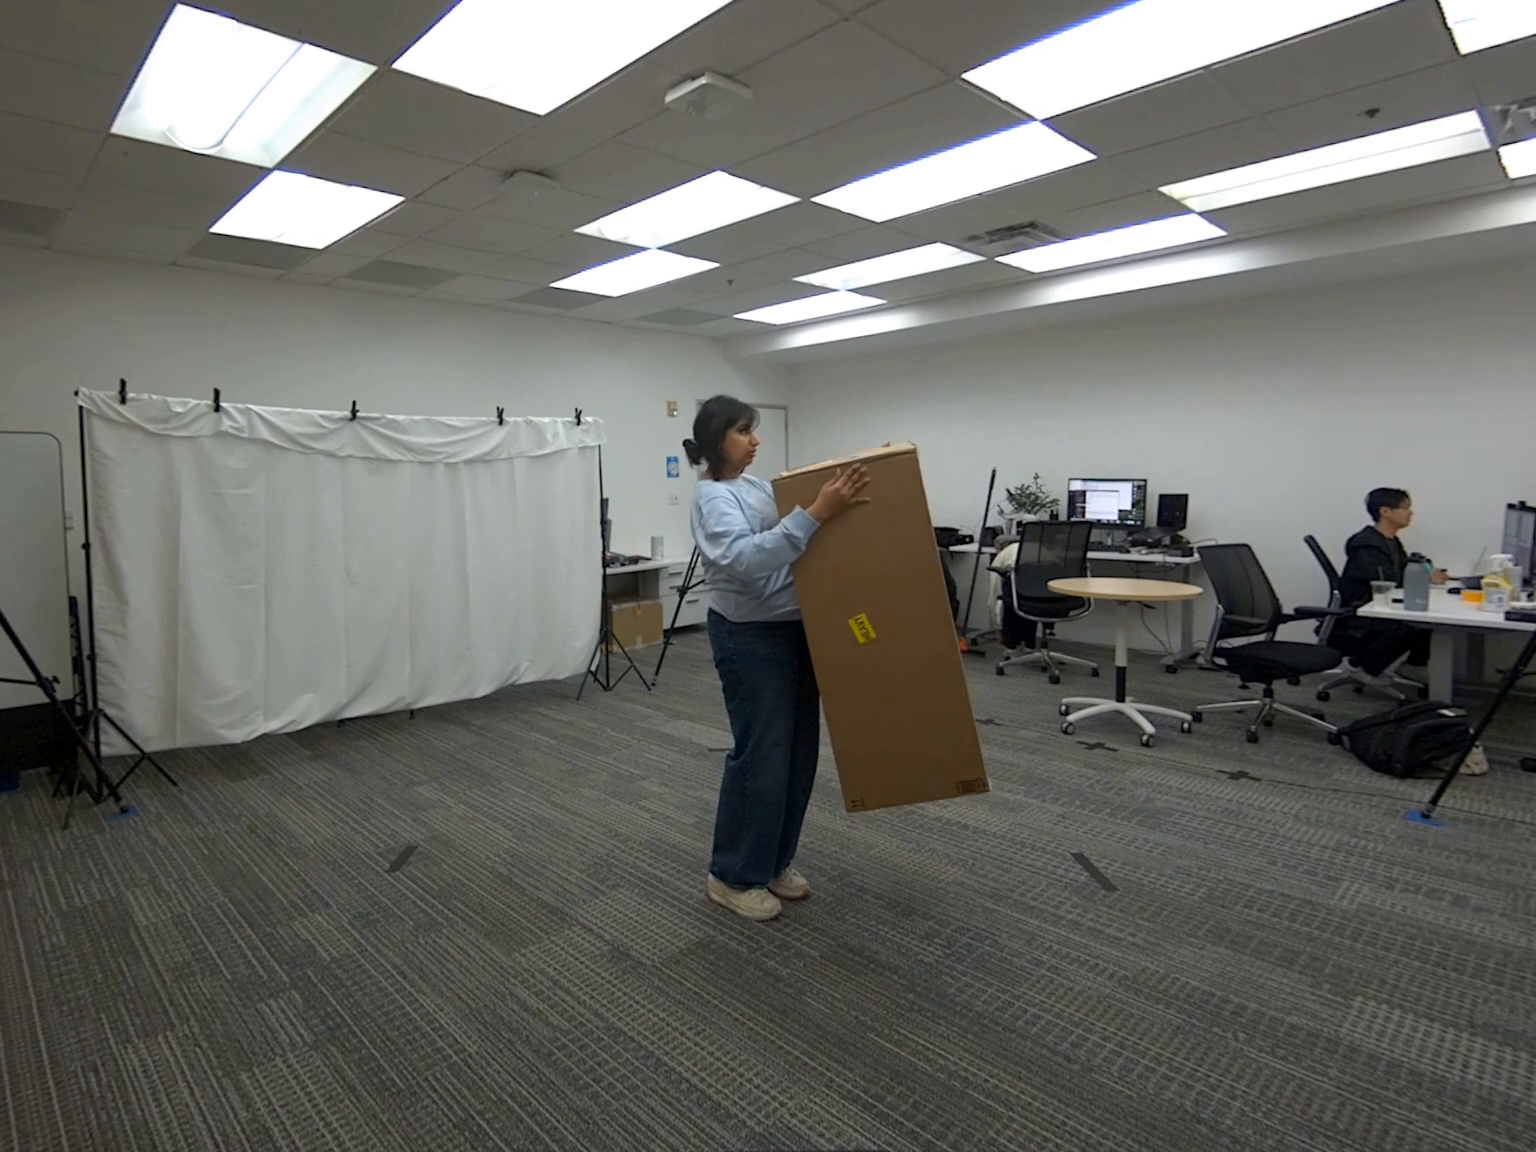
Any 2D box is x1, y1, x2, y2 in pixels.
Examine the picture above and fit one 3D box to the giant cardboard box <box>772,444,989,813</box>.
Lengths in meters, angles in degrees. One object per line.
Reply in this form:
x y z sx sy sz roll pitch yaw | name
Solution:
0.358 0.123 2.738 0.451 1.021 0.582 -13 6 11 | giant cardboard box
